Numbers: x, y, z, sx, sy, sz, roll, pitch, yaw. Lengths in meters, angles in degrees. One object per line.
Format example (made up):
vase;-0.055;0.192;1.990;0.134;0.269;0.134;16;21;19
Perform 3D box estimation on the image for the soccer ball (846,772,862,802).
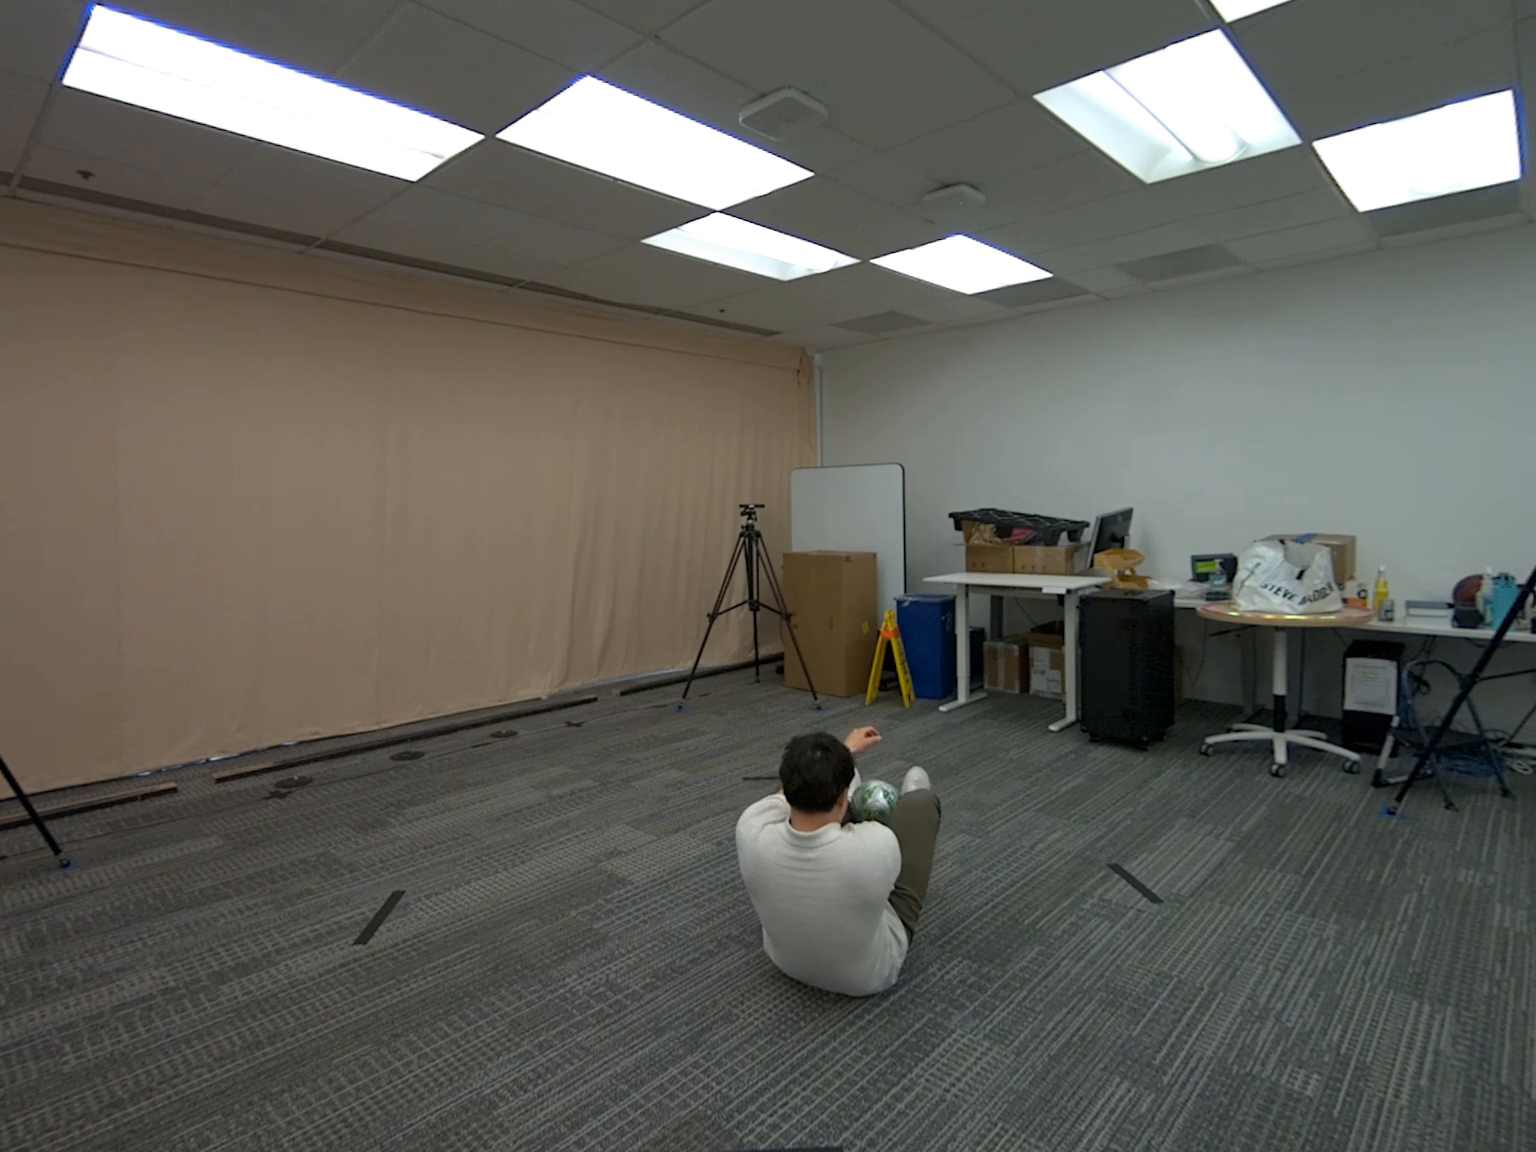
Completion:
soccer ball;0.402;0.813;2.945;0.187;0.187;0.188;-1;4;-2
